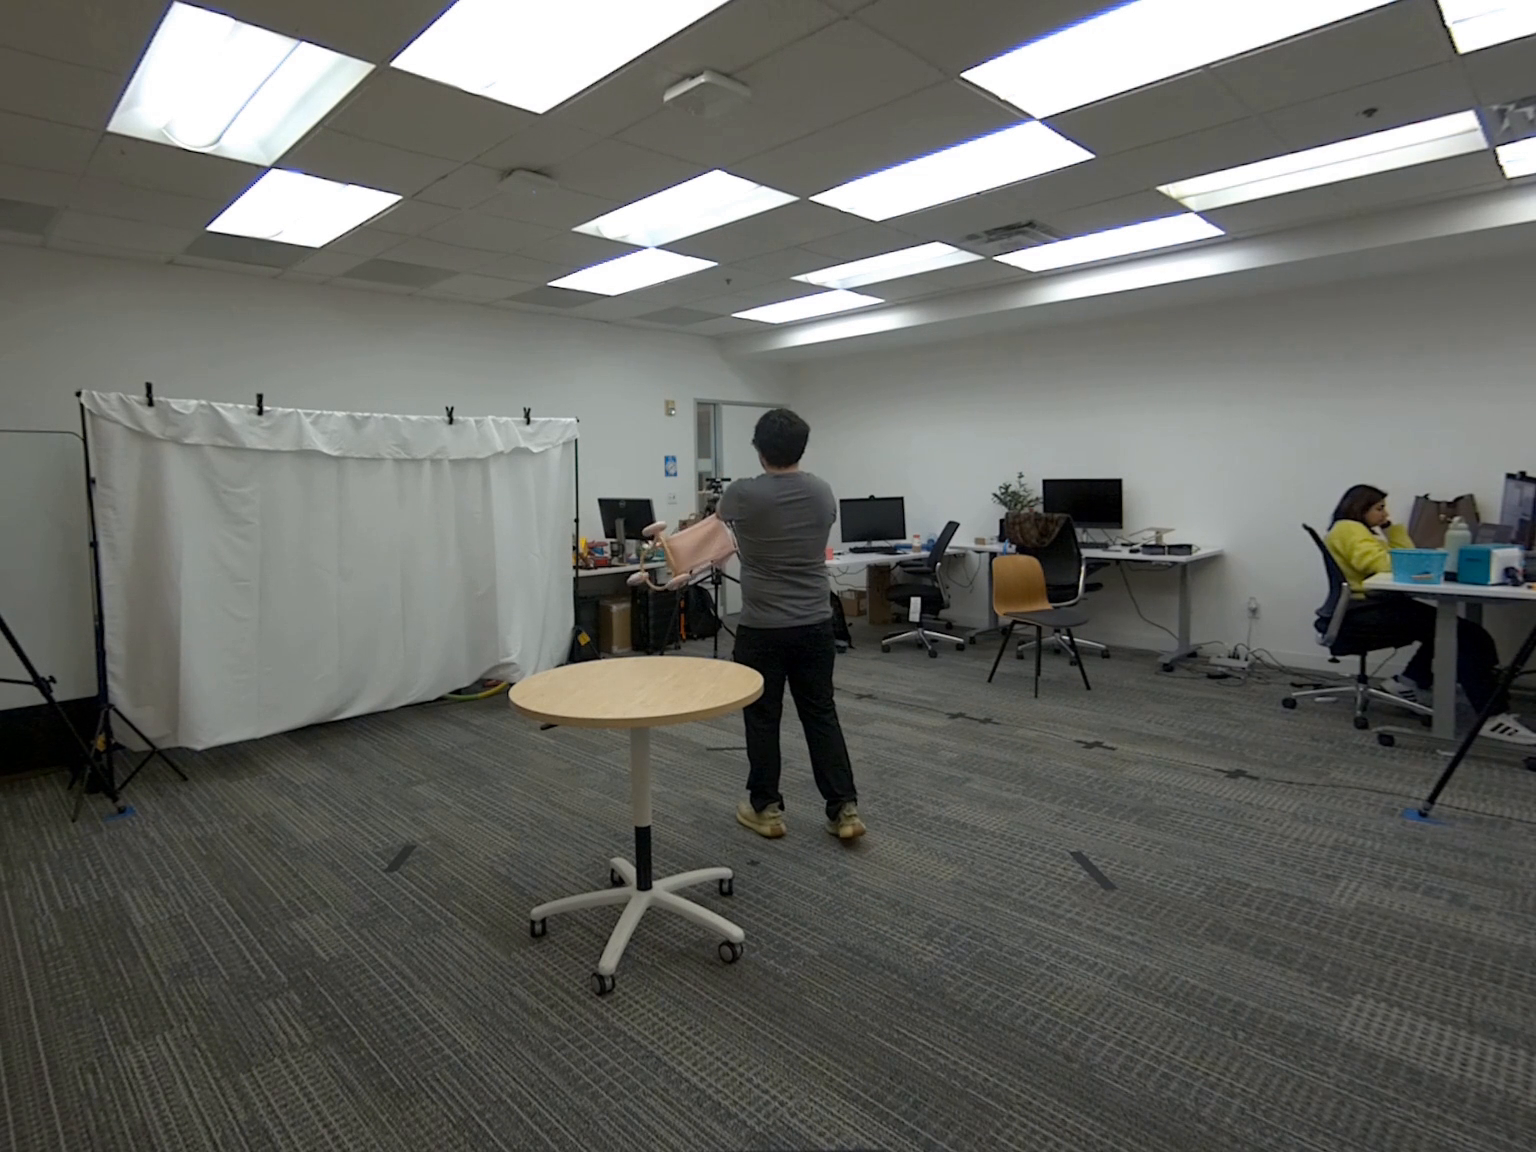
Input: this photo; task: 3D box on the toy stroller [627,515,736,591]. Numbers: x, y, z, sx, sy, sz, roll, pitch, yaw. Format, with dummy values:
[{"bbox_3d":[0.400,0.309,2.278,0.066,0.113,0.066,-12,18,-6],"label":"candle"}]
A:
[{"bbox_3d":[-0.338,-0.105,3.736,0.528,0.286,0.341,-24,-12,-29],"label":"toy stroller"}]
